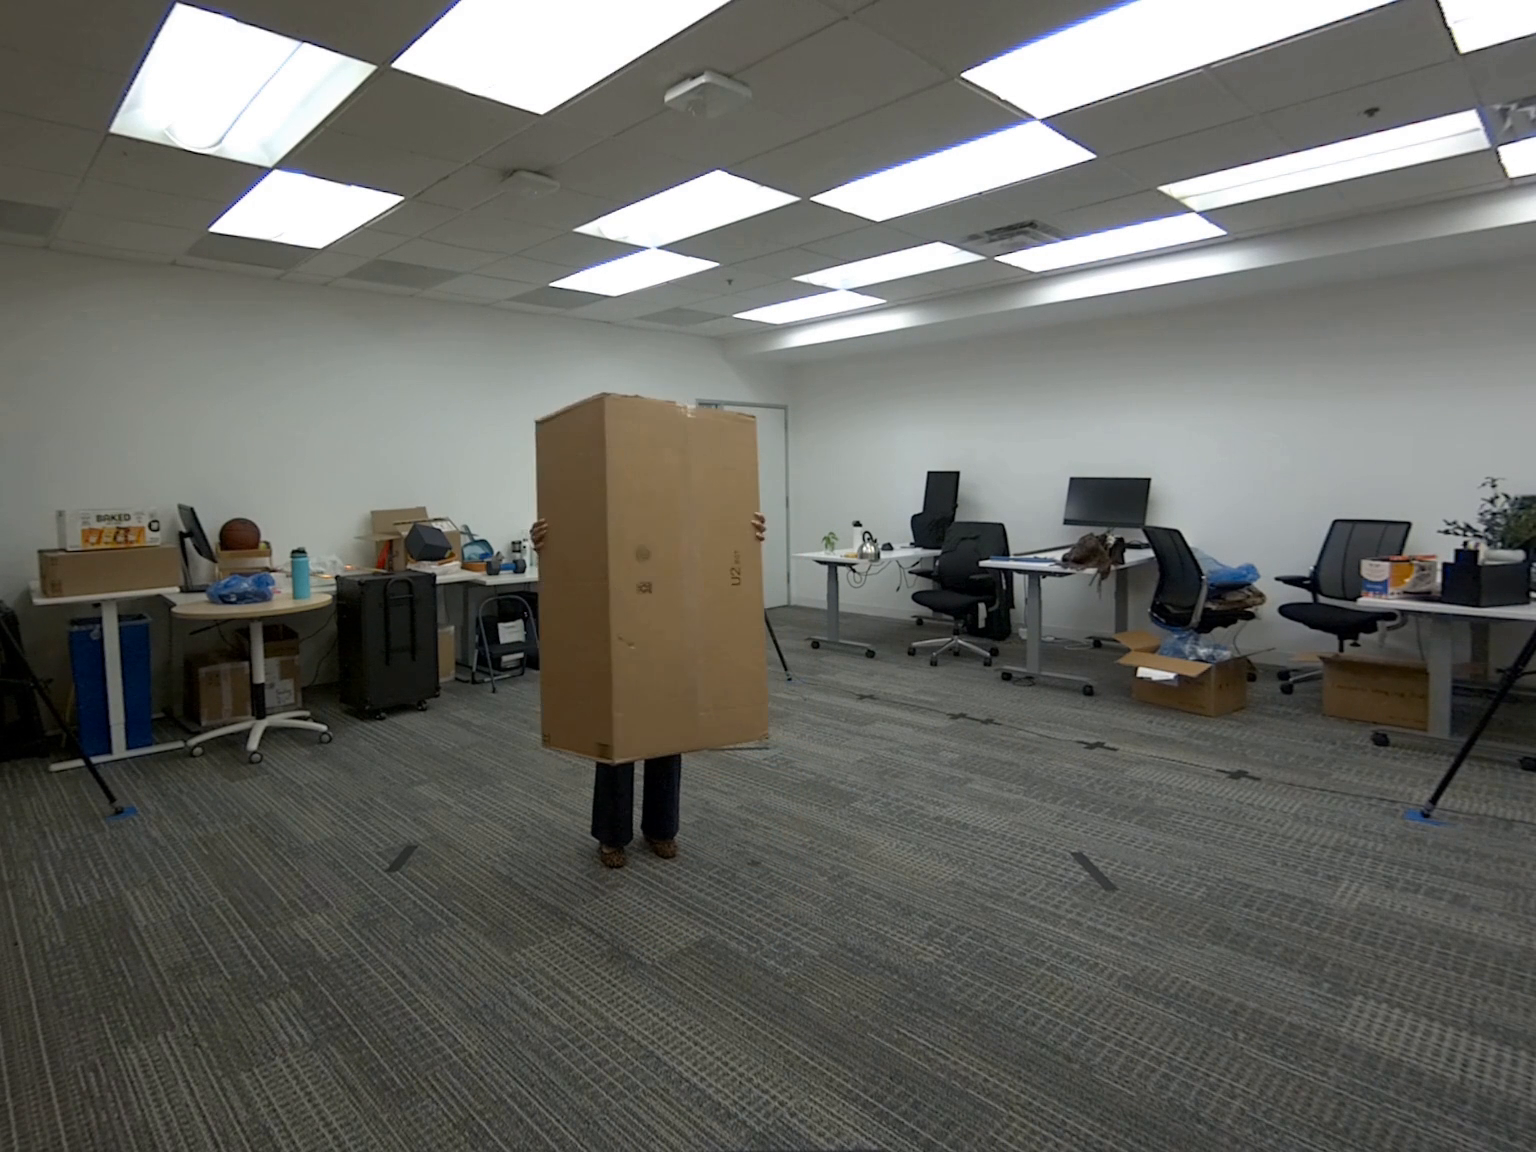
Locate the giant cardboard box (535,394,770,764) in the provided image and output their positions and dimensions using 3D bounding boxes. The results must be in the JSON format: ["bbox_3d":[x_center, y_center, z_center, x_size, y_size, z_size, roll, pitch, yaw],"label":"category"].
[{"bbox_3d":[-0.374,0.011,2.682,0.561,1.030,0.437,1,-6,-40],"label":"giant cardboard box"}]
